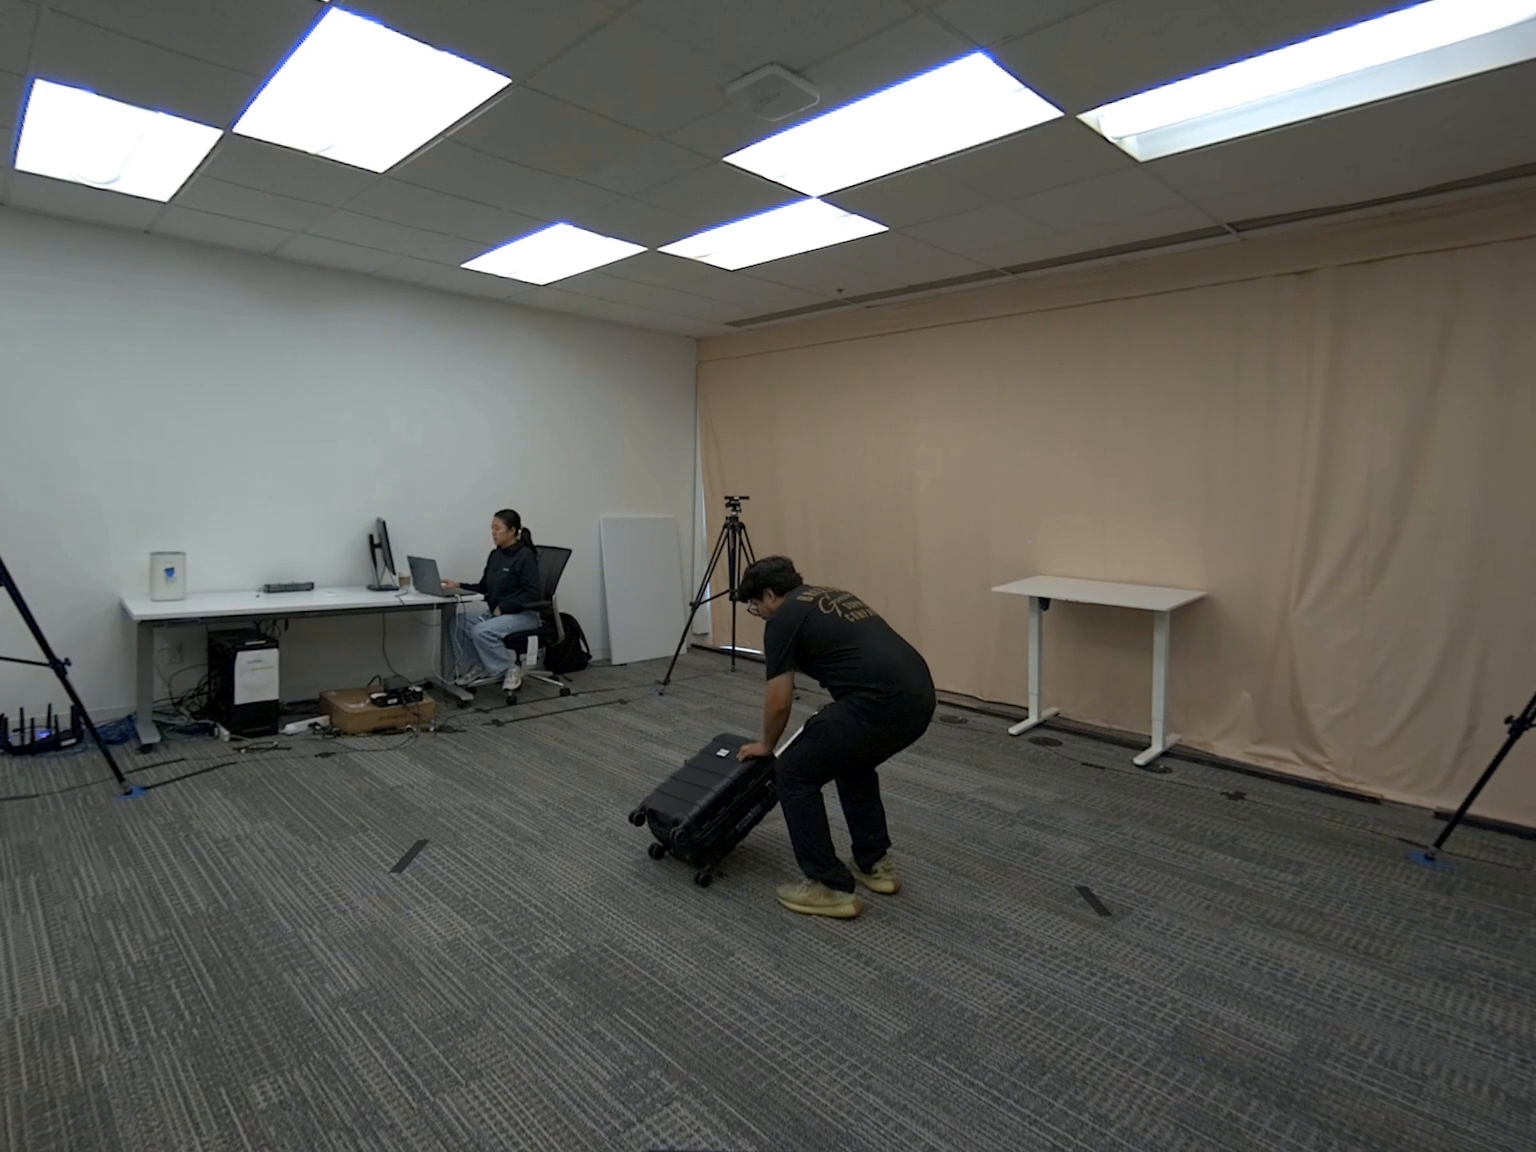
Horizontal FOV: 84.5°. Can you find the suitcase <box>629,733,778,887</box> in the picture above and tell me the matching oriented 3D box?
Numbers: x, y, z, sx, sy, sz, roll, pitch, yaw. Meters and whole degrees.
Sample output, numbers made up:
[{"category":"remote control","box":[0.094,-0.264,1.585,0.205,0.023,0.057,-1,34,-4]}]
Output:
[{"category":"suitcase","box":[-0.082,0.750,3.337,0.974,0.253,0.392,-39,21,-30]}]
